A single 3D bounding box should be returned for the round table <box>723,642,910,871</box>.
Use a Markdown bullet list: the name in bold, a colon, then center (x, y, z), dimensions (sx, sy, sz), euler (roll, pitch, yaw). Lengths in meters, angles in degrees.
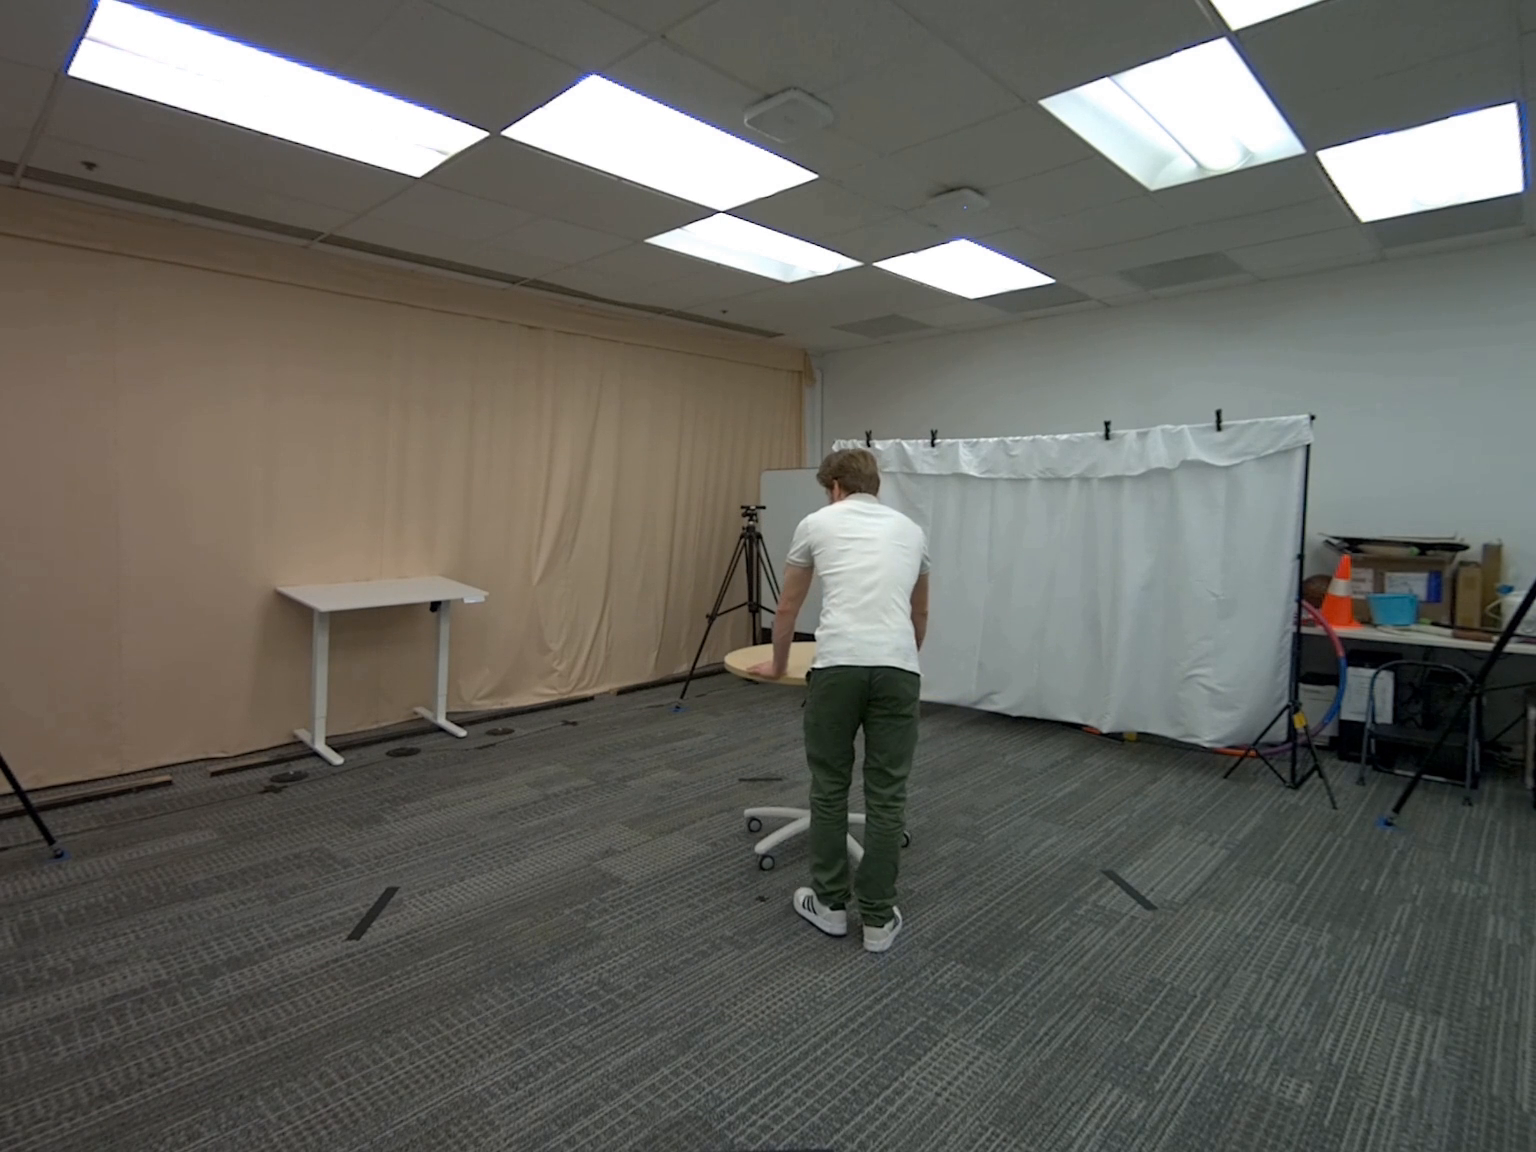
- **round table**: center (0.210, 0.719, 3.421), dimensions (0.763, 0.792, 0.767), euler (0, 4, -2)
